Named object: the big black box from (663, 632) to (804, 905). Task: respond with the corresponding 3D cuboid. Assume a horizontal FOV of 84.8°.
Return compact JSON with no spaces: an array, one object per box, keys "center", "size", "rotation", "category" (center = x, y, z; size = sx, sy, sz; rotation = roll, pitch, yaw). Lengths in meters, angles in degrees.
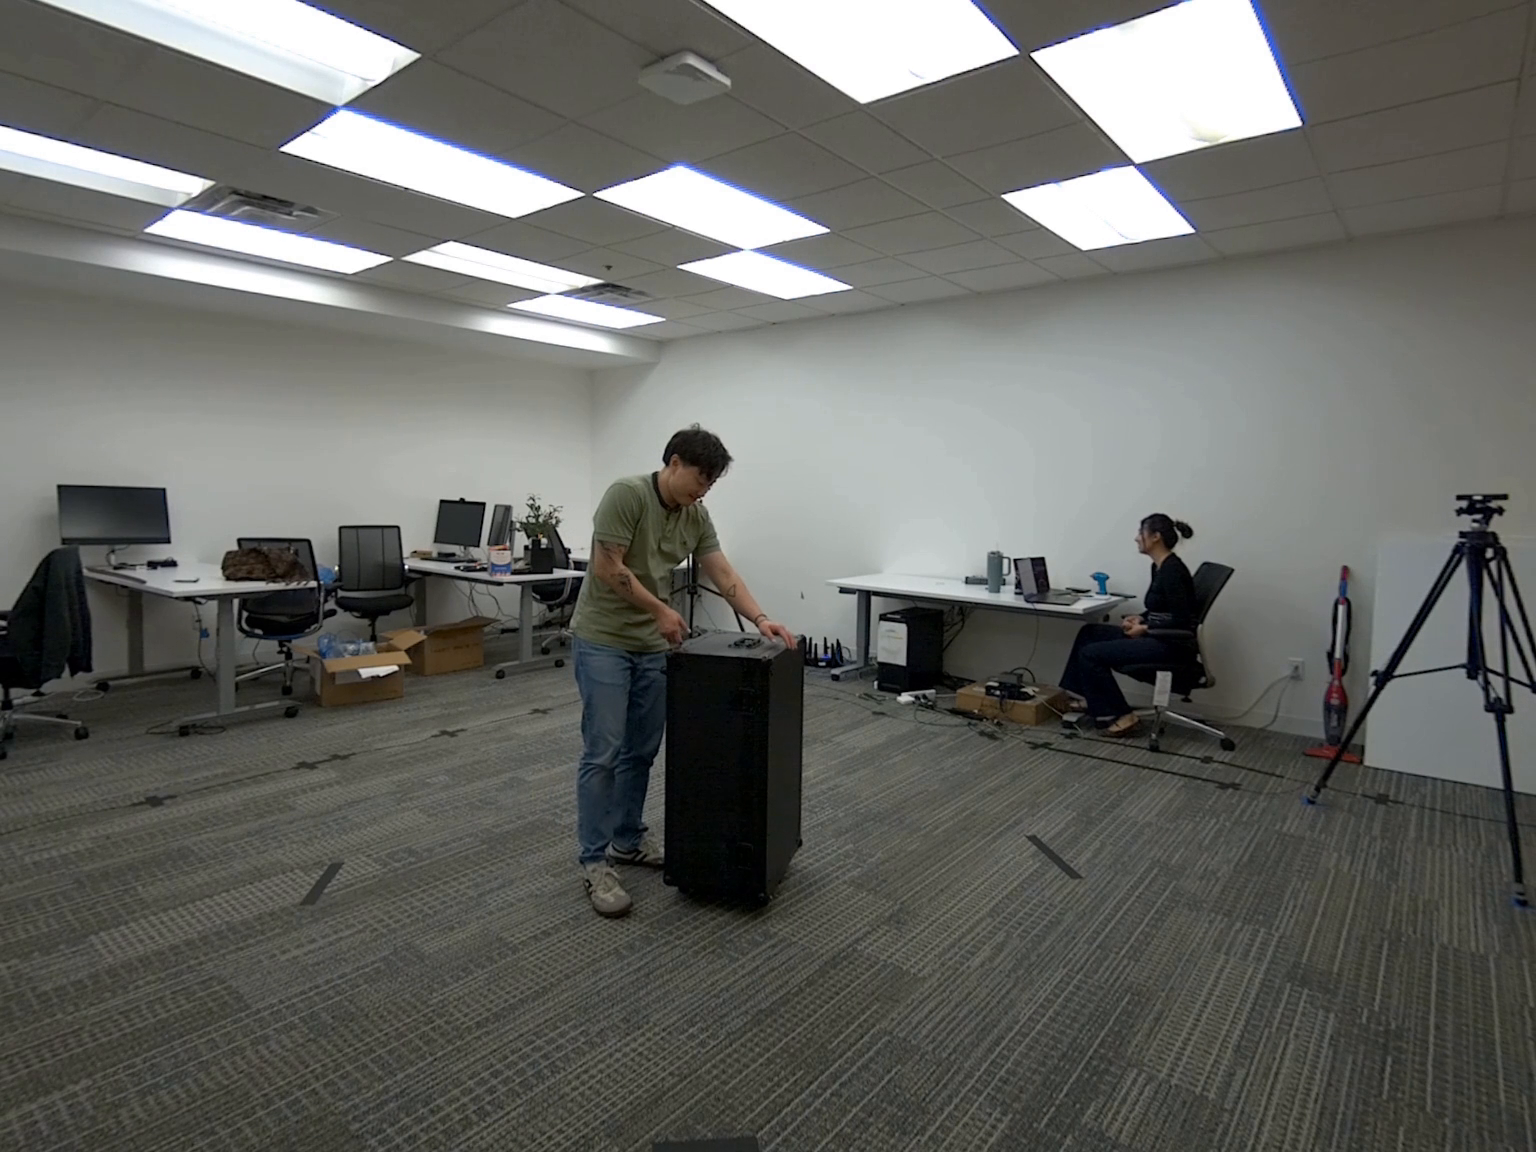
[{"center":[-0.125,0.654,2.965],"size":[0.404,0.859,0.513],"rotation":[1,3,17],"category":"big black box"}]
